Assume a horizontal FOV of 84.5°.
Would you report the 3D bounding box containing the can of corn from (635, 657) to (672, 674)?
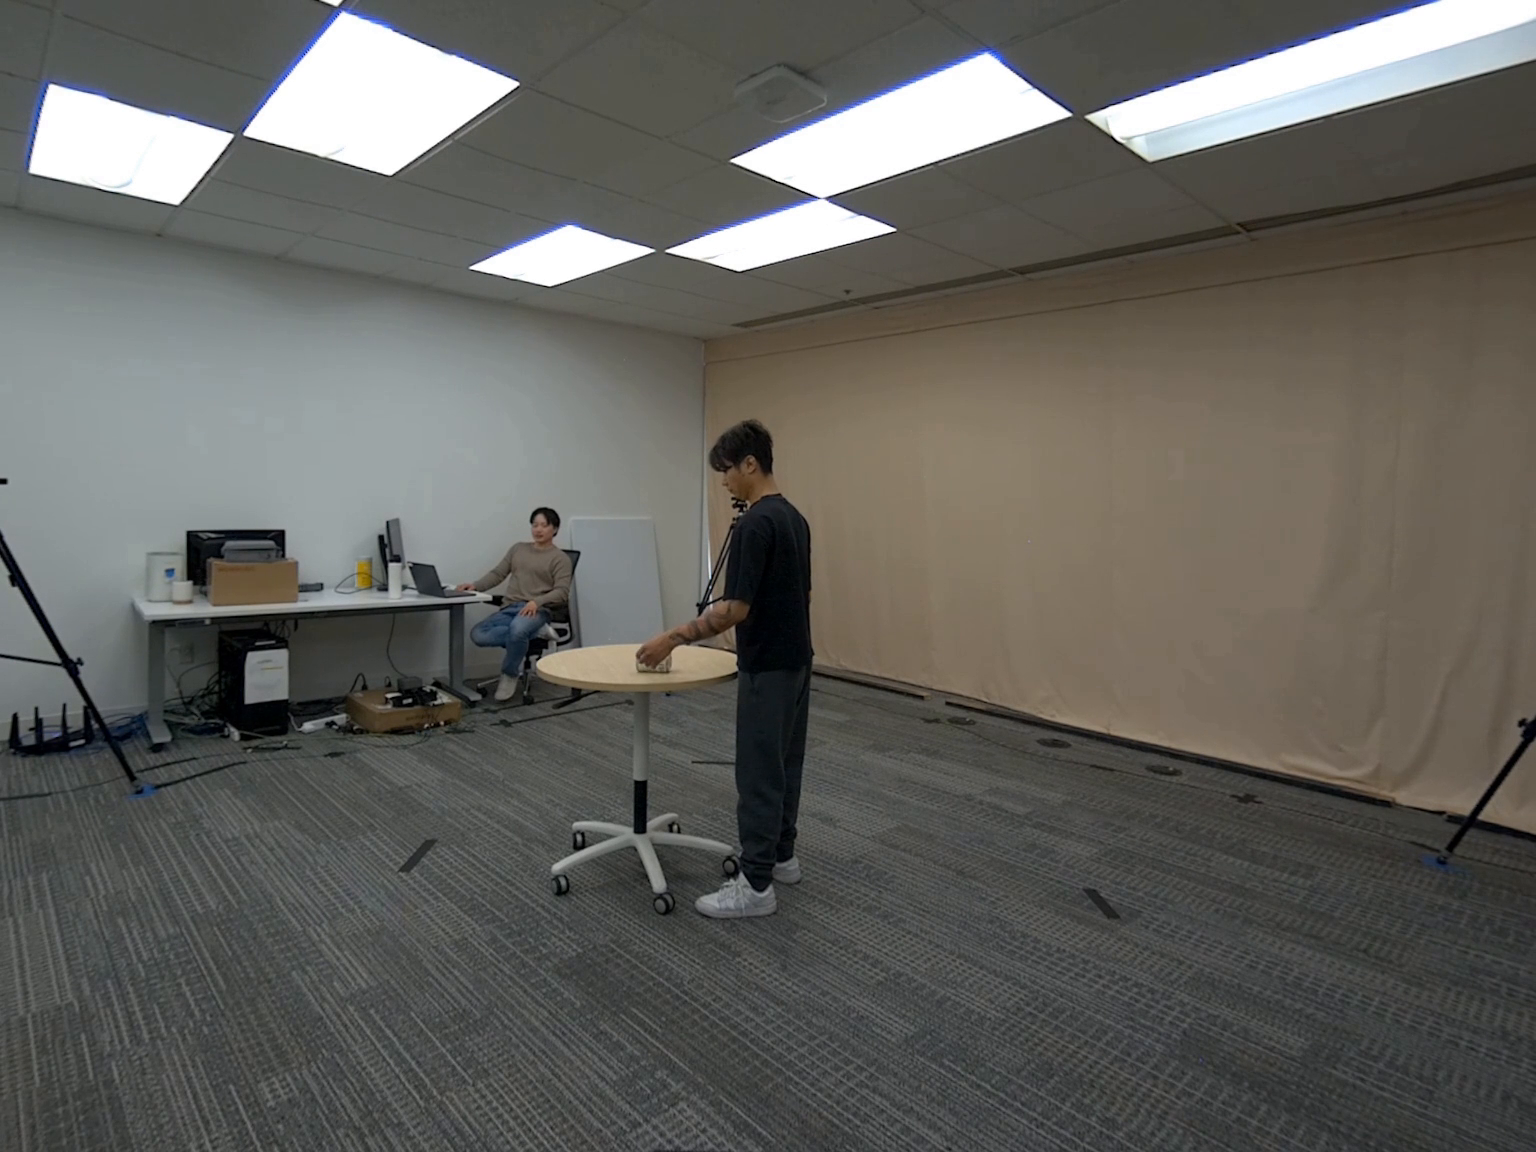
[{"bbox_3d":[-0.398,0.299,2.926,0.111,0.074,0.074,4,4,5],"label":"can of corn"}]
